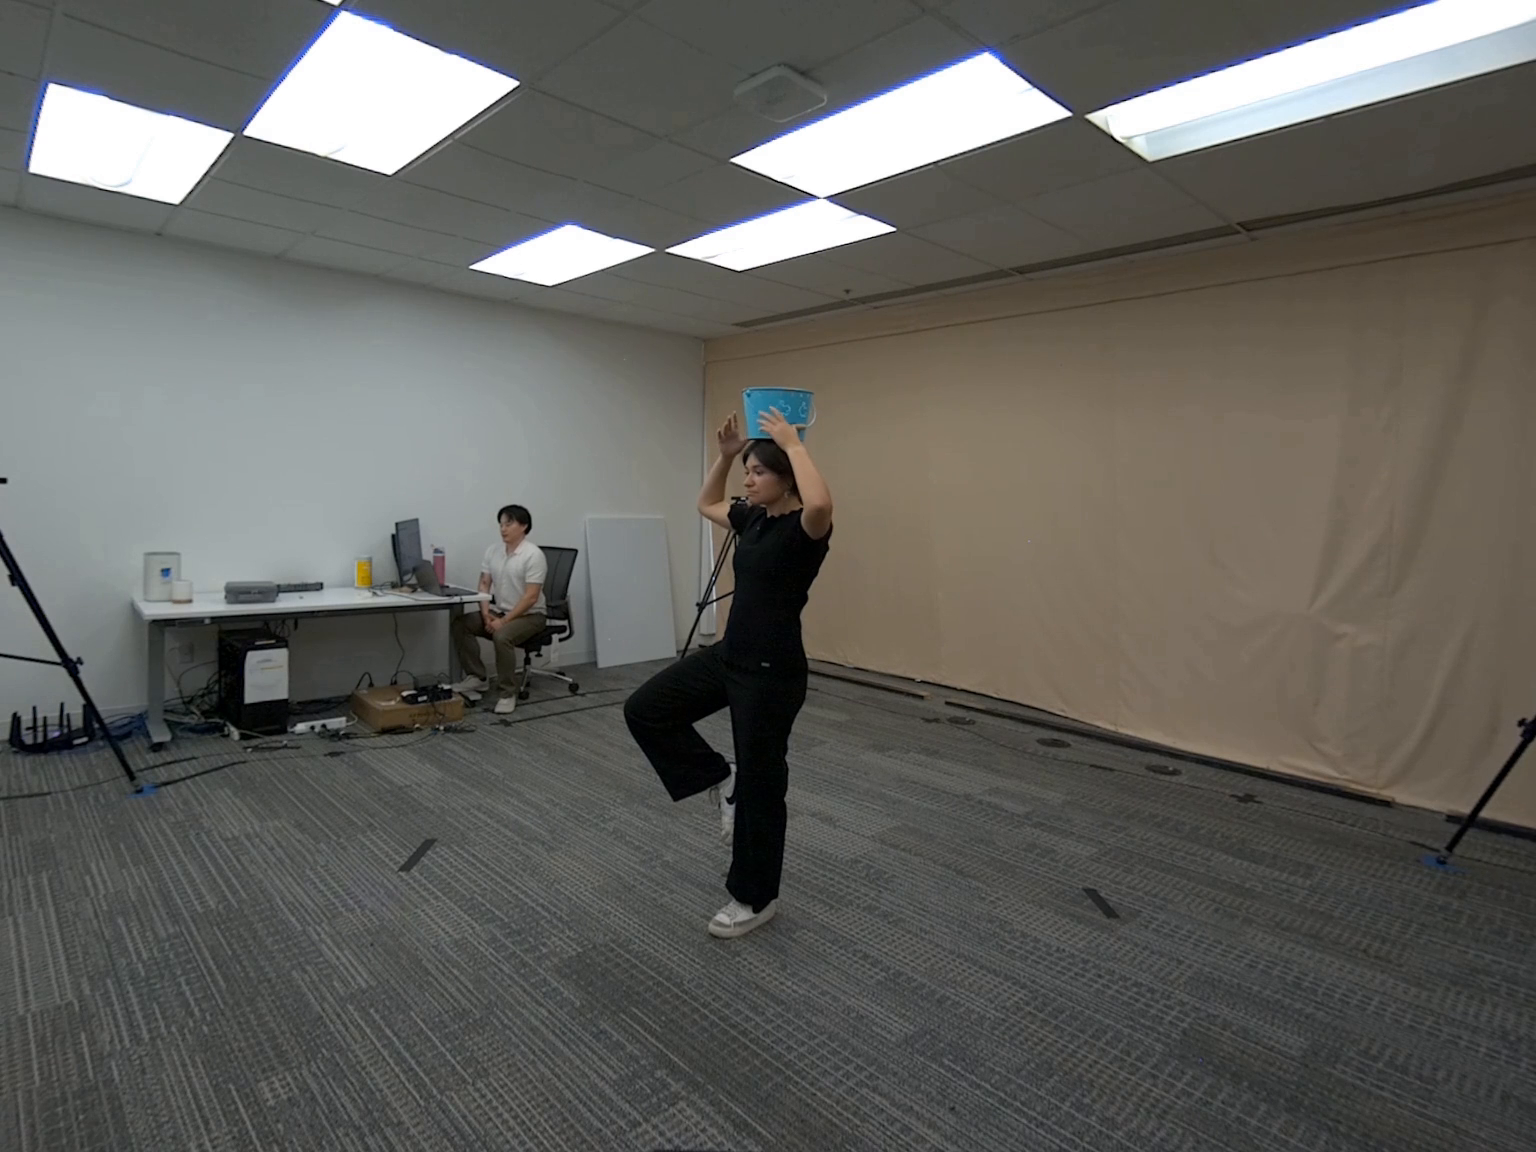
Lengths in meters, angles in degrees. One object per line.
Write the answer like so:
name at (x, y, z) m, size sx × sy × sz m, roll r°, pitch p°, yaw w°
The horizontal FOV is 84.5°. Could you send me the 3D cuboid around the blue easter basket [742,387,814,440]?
blue easter basket at (0.026, -0.502, 2.656) m, size 0.243 × 0.155 × 0.244 m, roll 3°, pitch 5°, yaw -2°
